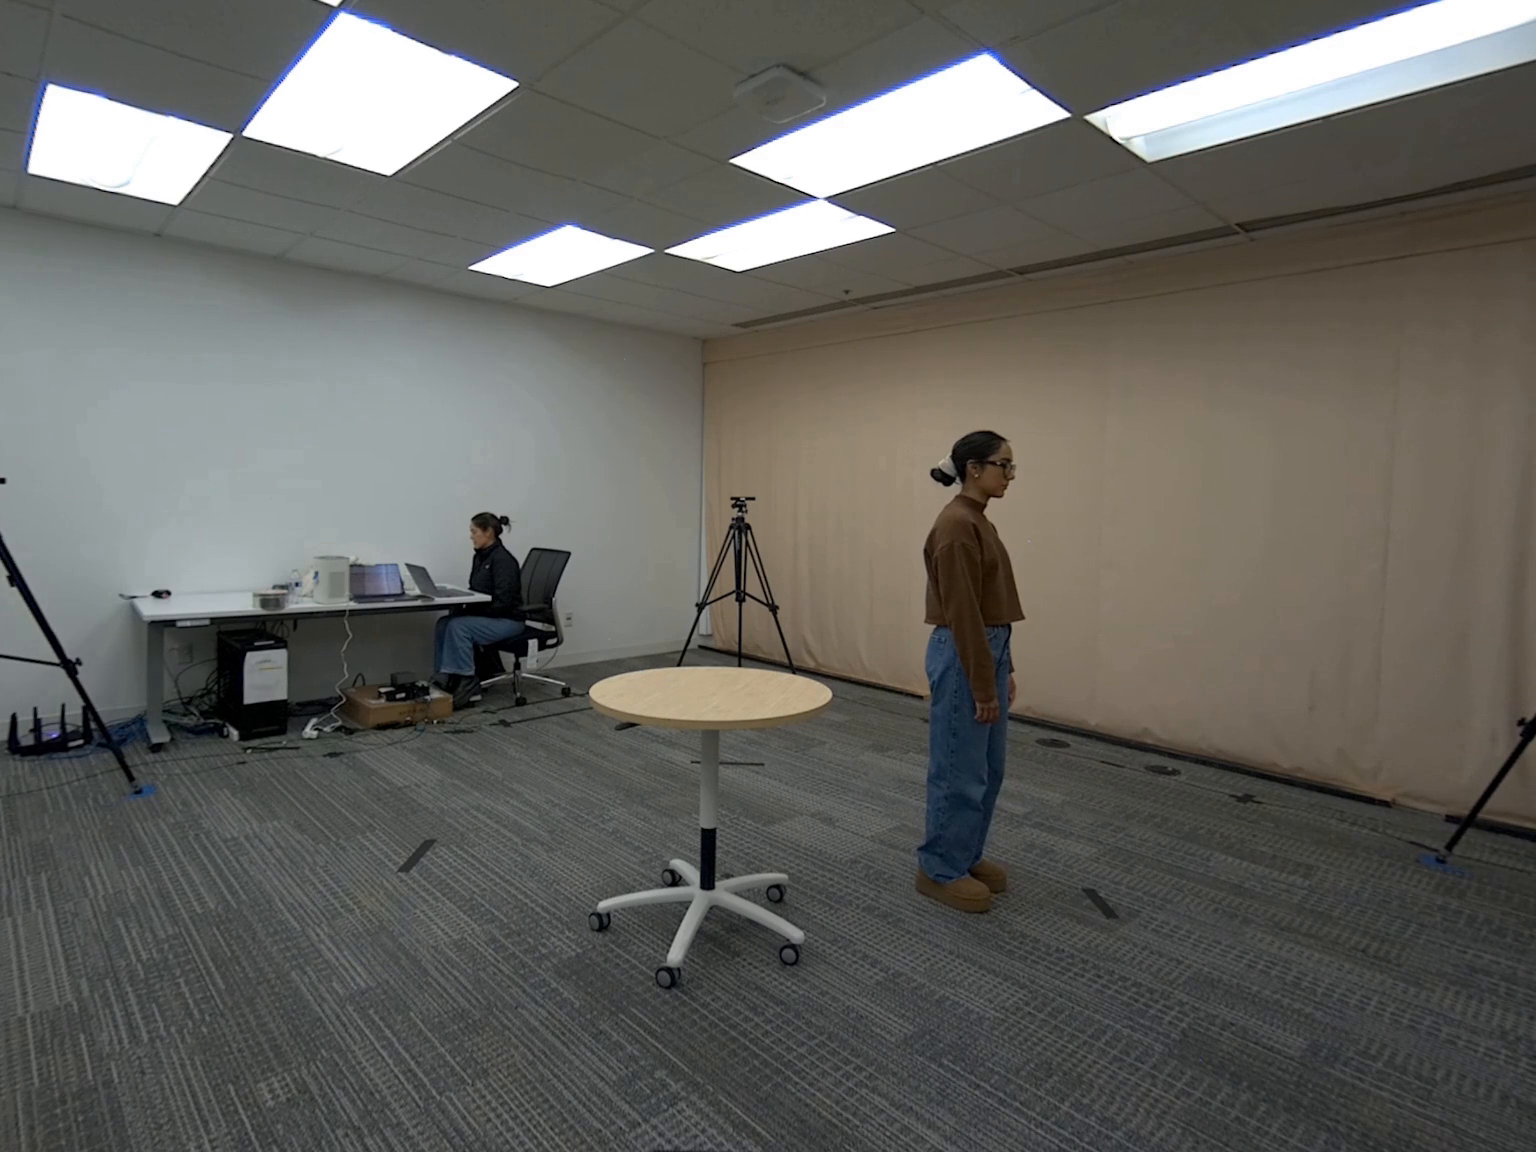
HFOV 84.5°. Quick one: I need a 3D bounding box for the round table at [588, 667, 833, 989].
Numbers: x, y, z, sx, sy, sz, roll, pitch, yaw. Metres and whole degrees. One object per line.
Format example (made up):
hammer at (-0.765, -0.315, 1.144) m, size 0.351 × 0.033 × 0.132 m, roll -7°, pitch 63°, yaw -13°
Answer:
round table at (-0.193, 0.756, 2.686) m, size 0.763 × 0.792 × 0.767 m, roll 1°, pitch 4°, yaw -1°
